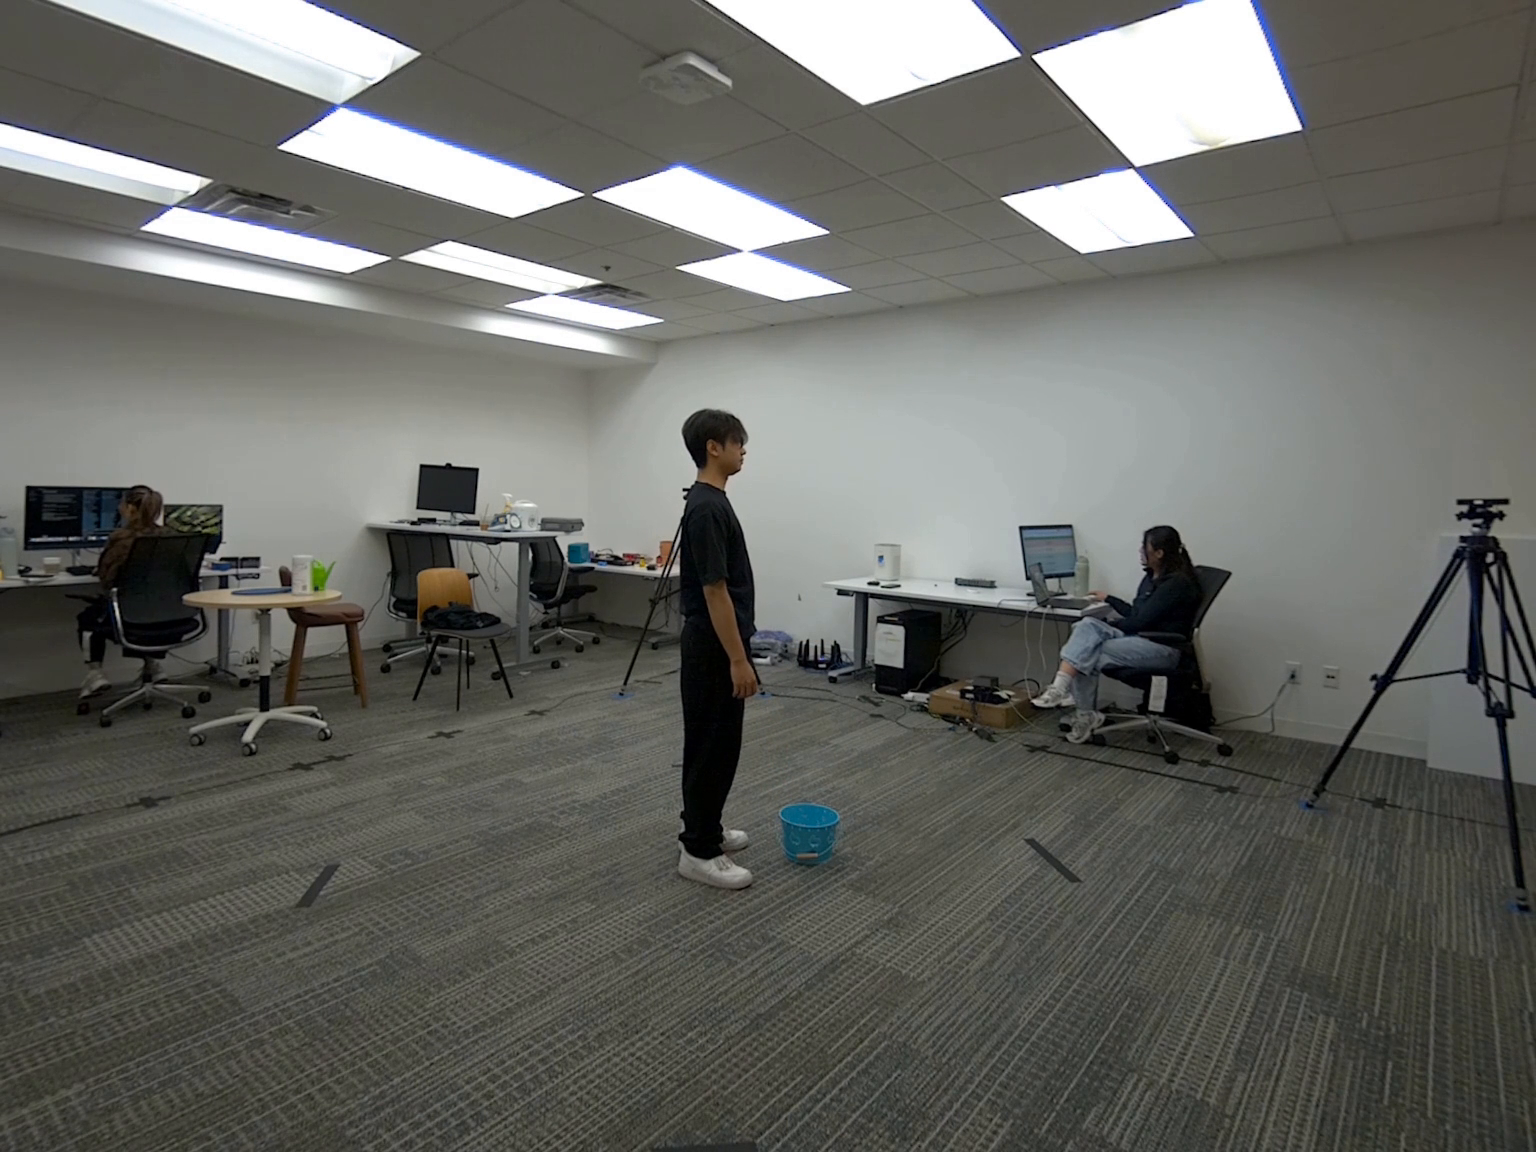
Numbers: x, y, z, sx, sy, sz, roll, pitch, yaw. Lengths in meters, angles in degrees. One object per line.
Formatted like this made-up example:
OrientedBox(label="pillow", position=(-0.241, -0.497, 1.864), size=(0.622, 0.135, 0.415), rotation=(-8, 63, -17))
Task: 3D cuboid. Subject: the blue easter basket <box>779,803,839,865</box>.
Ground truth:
OrientedBox(label="blue easter basket", position=(0.144, 0.985, 3.258), size=(0.243, 0.155, 0.245), rotation=(1, 5, -2))
